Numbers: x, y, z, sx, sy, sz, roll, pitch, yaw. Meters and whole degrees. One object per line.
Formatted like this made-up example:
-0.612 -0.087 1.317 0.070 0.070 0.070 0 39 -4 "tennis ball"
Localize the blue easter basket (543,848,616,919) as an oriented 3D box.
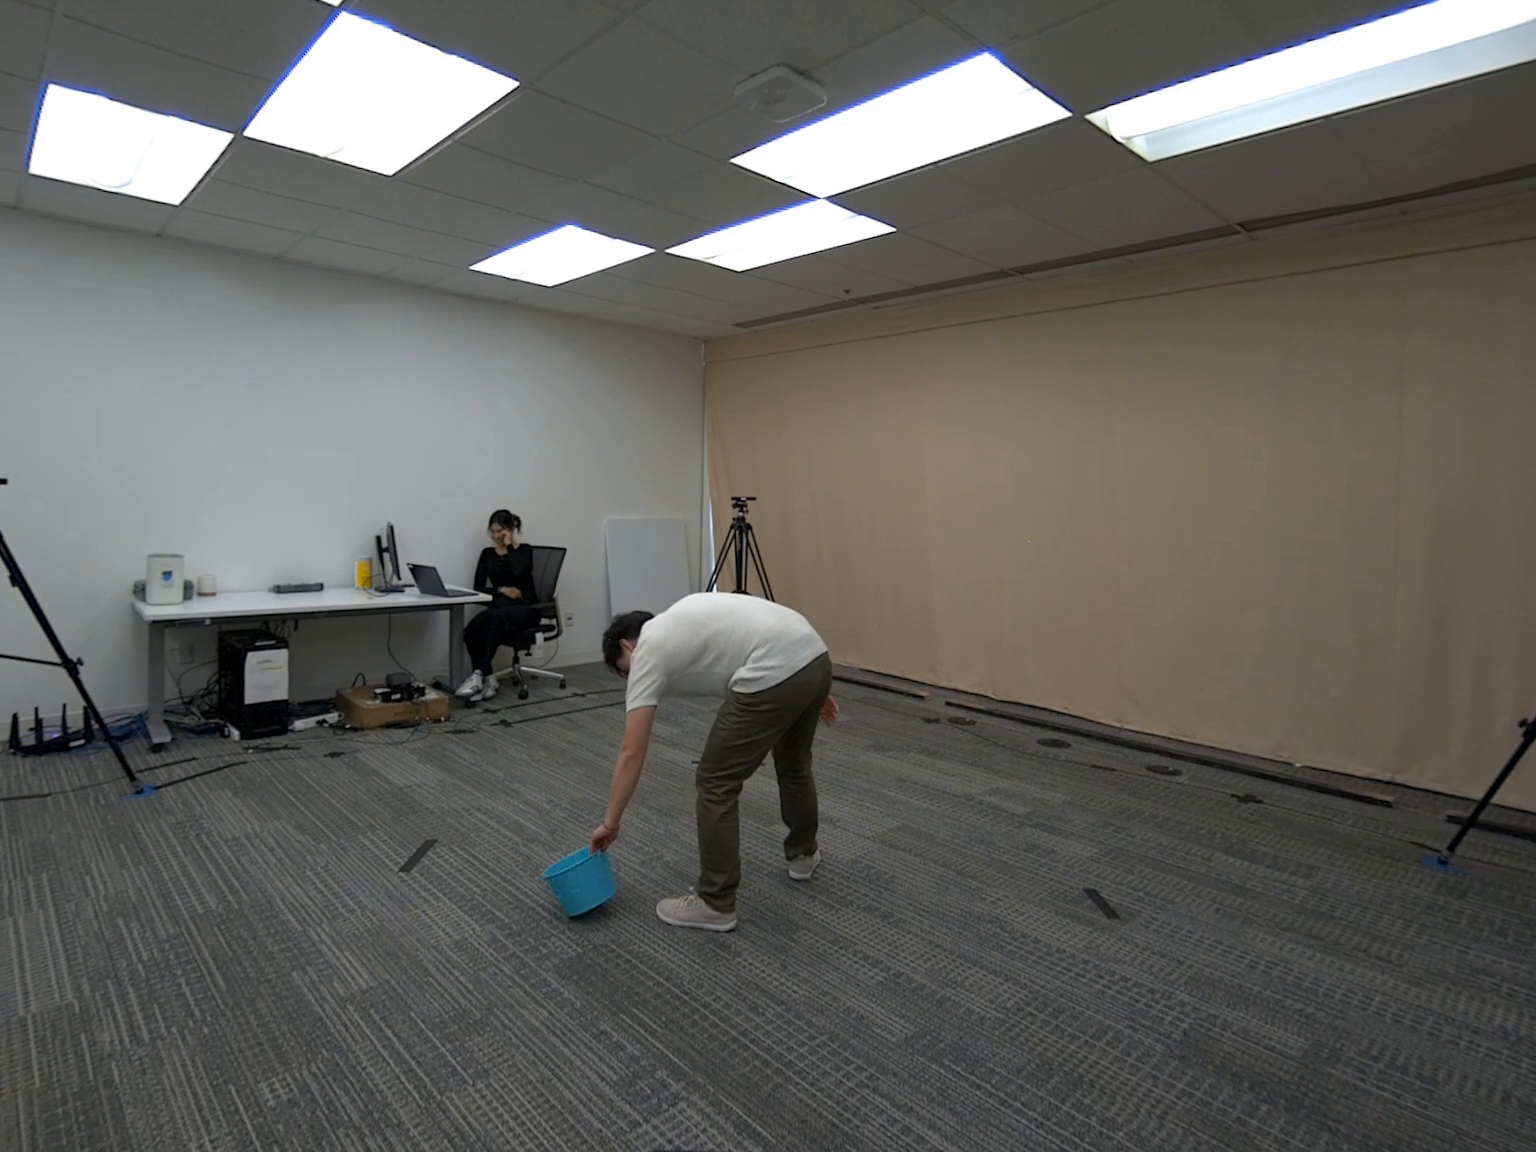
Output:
-0.617 1.016 2.805 0.243 0.156 0.243 -24 -3 -3 "blue easter basket"
